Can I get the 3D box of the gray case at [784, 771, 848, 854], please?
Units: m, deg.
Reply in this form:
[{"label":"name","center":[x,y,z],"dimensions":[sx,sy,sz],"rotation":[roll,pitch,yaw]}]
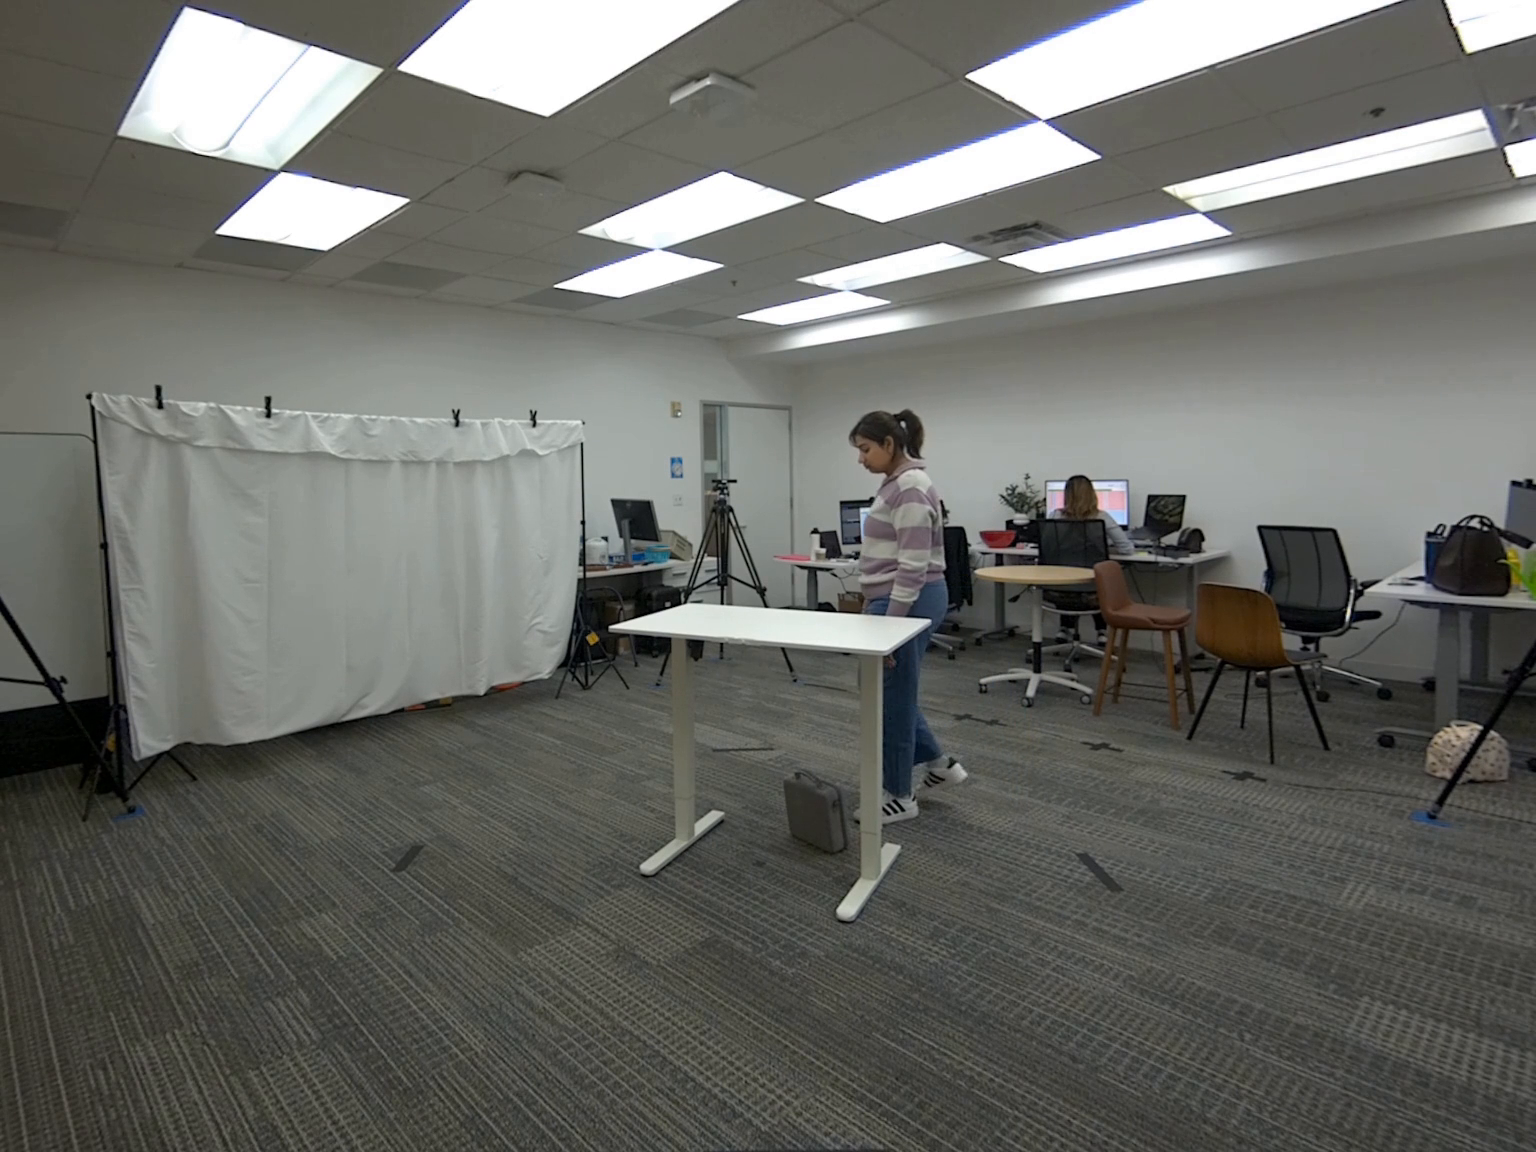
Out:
[{"label":"gray case","center":[0.191,0.899,3.262],"dimensions":[0.102,0.258,0.265],"rotation":[-14,12,-37]}]
